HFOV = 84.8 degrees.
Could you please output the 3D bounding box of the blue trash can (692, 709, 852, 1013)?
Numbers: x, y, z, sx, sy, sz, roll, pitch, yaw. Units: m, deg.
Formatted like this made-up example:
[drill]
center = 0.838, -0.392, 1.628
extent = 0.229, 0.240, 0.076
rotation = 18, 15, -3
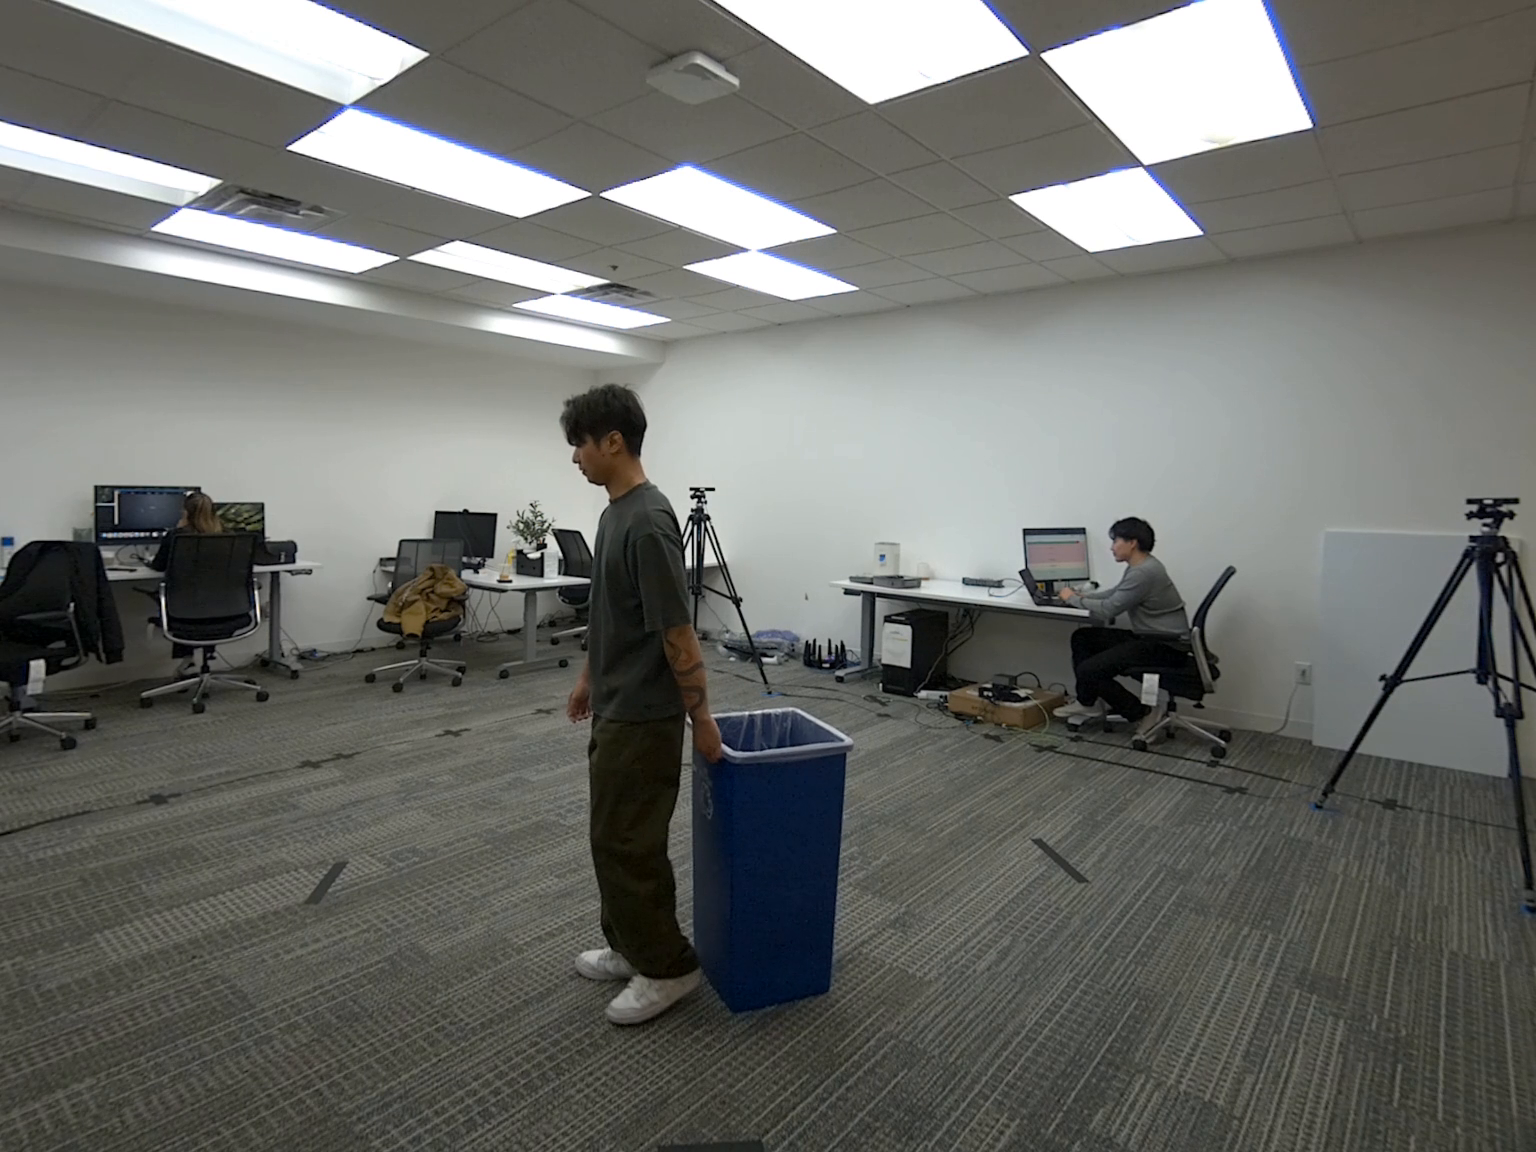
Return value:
[blue trash can]
center = -0.018, 0.784, 2.408
extent = 0.369, 0.711, 0.384
rotation = -1, 4, -24
